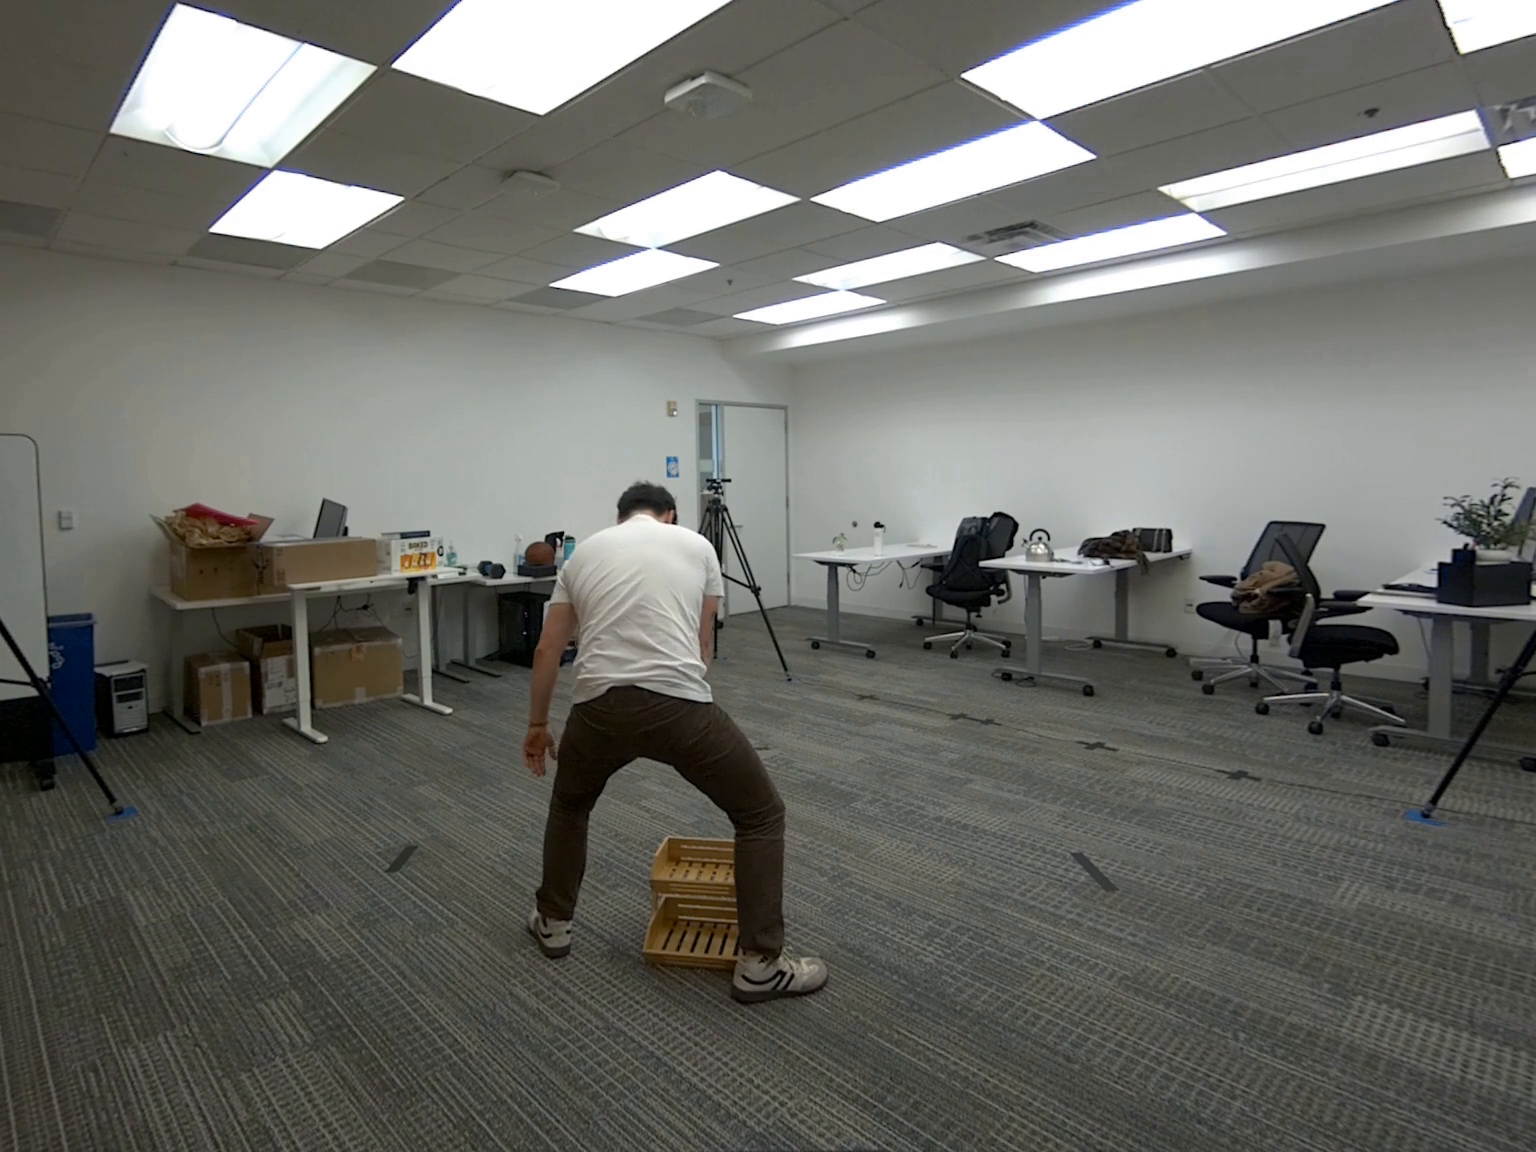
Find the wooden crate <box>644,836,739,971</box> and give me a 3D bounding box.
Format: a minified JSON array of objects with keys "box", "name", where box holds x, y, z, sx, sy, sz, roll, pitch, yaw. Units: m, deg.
[{"box":[-0.189,0.980,2.563,0.328,0.272,0.300,-1,5,9],"name":"wooden crate"}]
